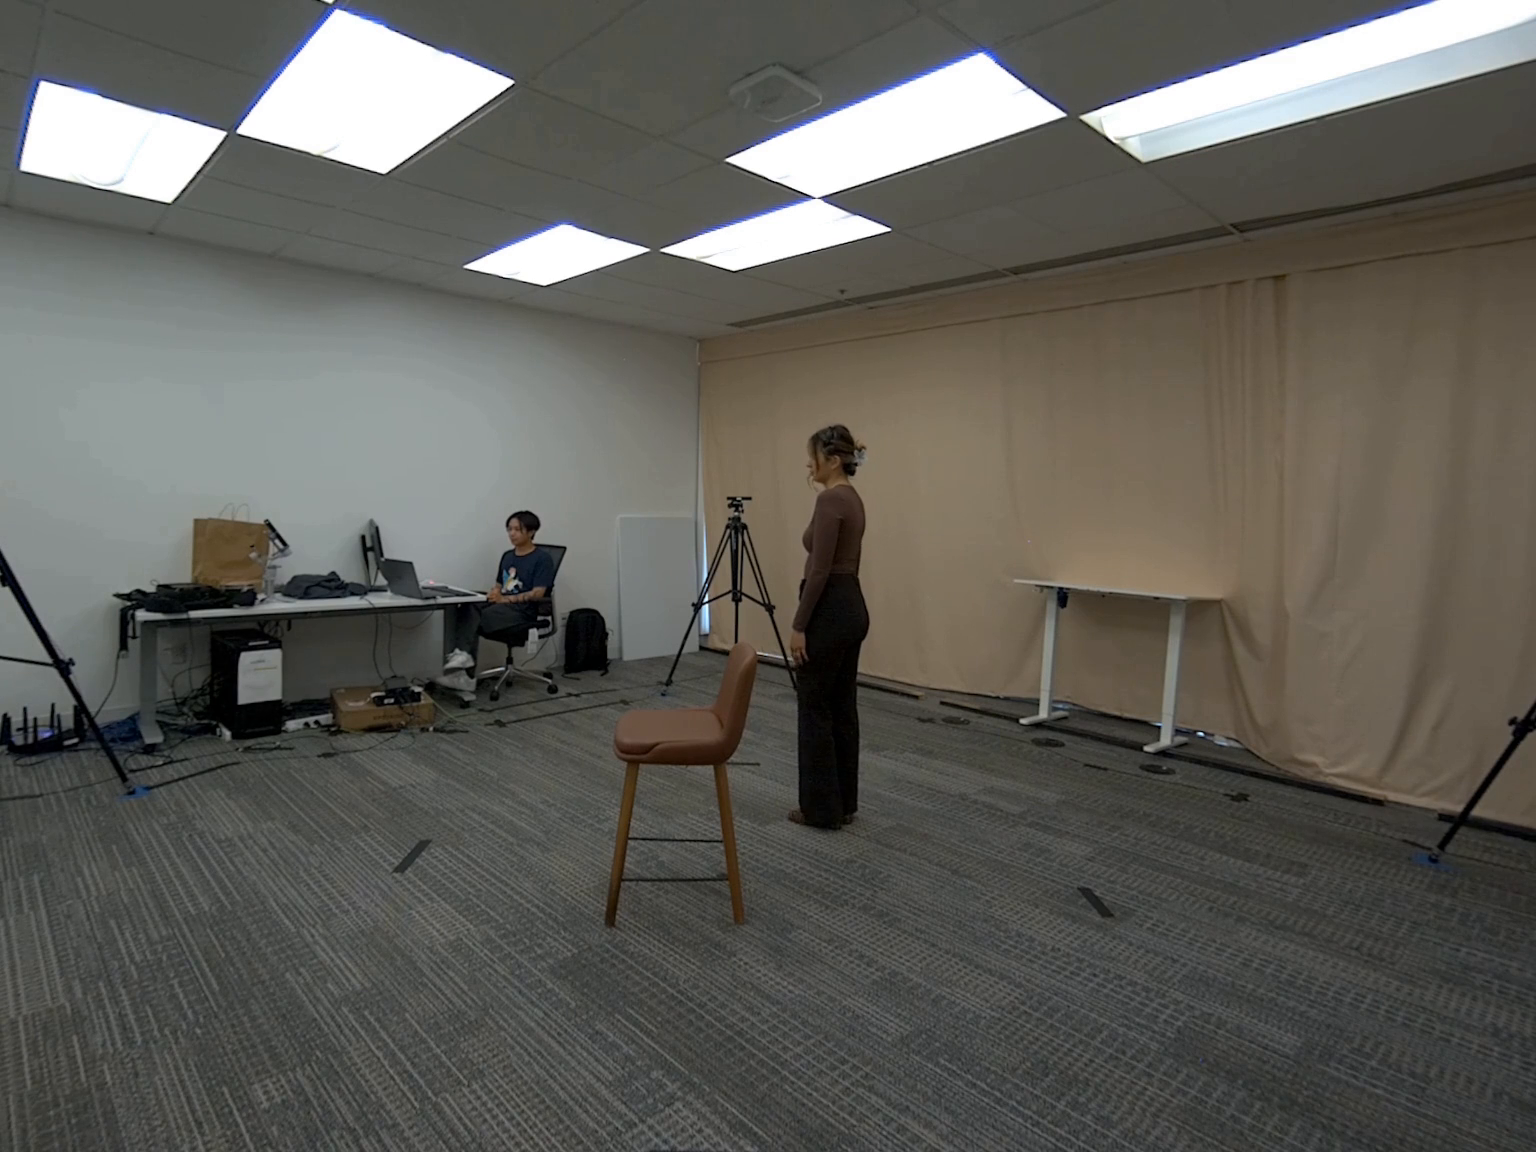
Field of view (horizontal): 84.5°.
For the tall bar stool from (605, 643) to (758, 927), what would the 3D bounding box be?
[{"bbox_3d":[-0.309,0.688,2.897,0.466,0.888,0.459,2,3,-6],"label":"tall bar stool"}]
